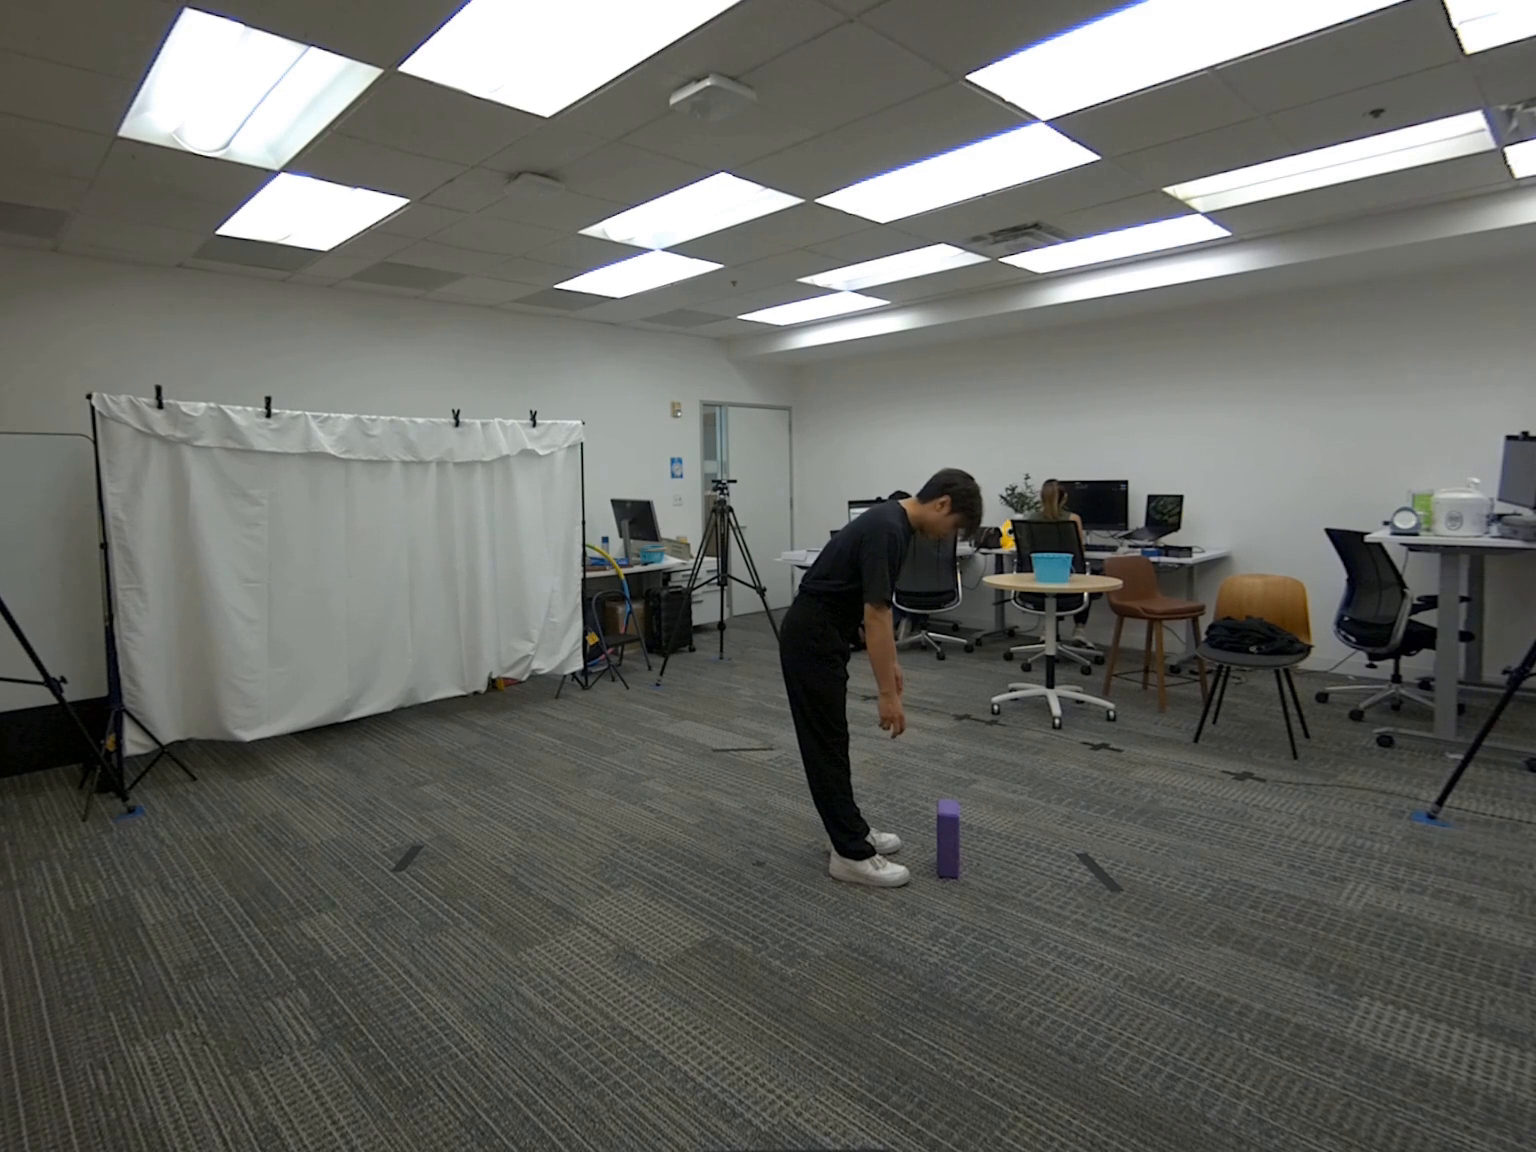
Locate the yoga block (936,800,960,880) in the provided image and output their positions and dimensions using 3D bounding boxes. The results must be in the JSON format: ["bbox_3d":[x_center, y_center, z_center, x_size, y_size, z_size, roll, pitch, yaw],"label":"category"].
[{"bbox_3d":[0.634,0.927,3.028,0.077,0.228,0.148,1,4,10],"label":"yoga block"}]
